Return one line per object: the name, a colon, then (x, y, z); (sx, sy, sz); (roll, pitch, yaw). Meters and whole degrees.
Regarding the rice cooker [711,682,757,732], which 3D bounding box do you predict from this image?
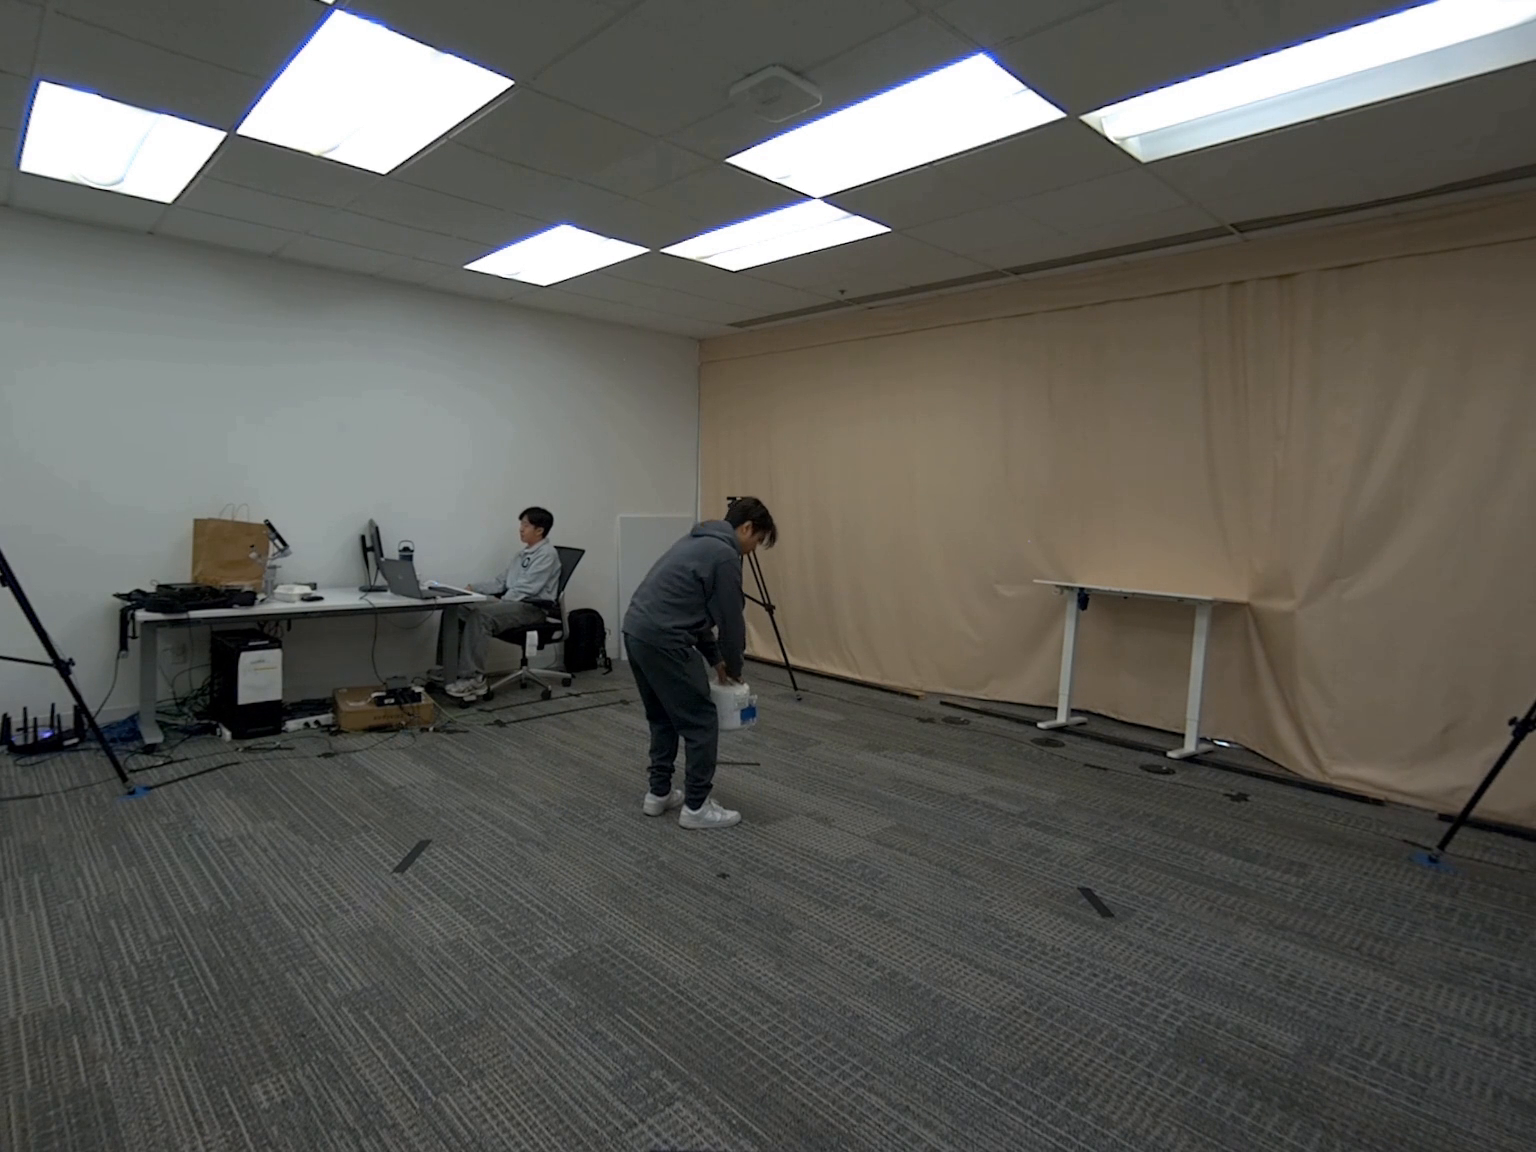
rice cooker: (-0.199, 0.575, 3.827); (0.212, 0.232, 0.226); (-1, 5, -38)
